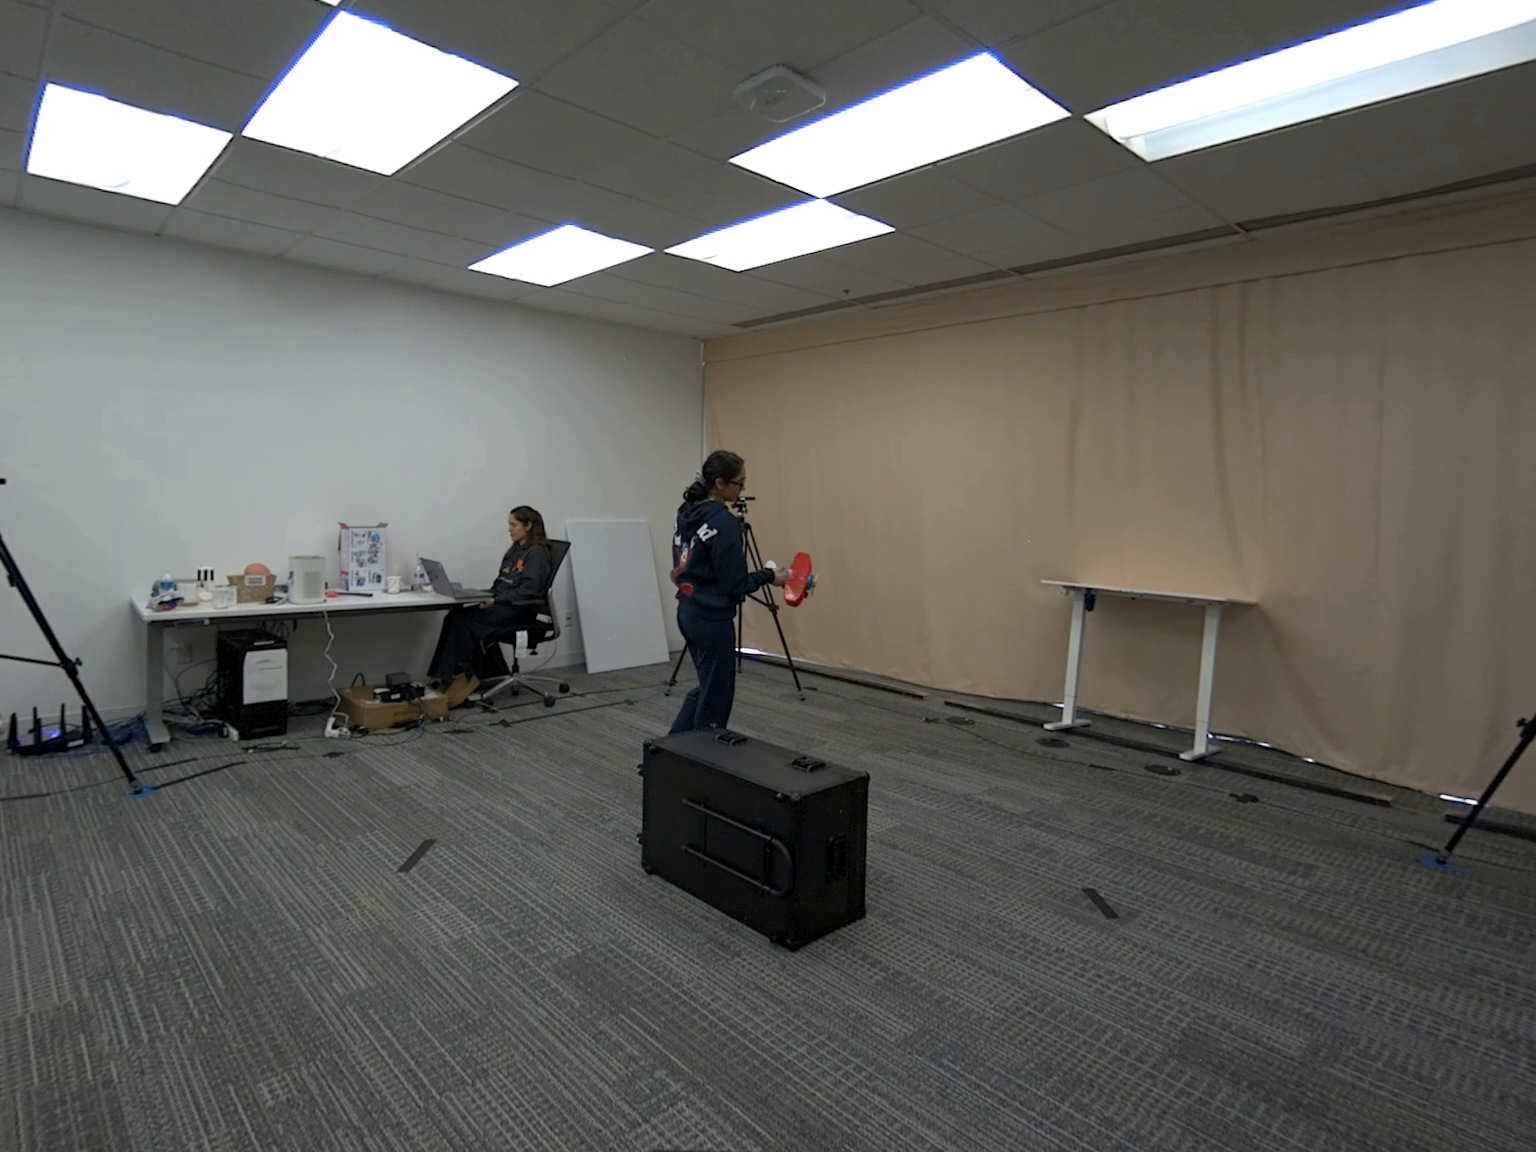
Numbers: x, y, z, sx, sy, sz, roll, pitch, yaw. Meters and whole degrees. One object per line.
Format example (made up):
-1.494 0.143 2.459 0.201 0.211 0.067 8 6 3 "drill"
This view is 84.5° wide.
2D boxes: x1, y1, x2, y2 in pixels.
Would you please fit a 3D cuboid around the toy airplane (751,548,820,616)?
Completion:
0.077 0.028 4.076 0.258 0.254 0.155 -10 -14 -9 "toy airplane"
